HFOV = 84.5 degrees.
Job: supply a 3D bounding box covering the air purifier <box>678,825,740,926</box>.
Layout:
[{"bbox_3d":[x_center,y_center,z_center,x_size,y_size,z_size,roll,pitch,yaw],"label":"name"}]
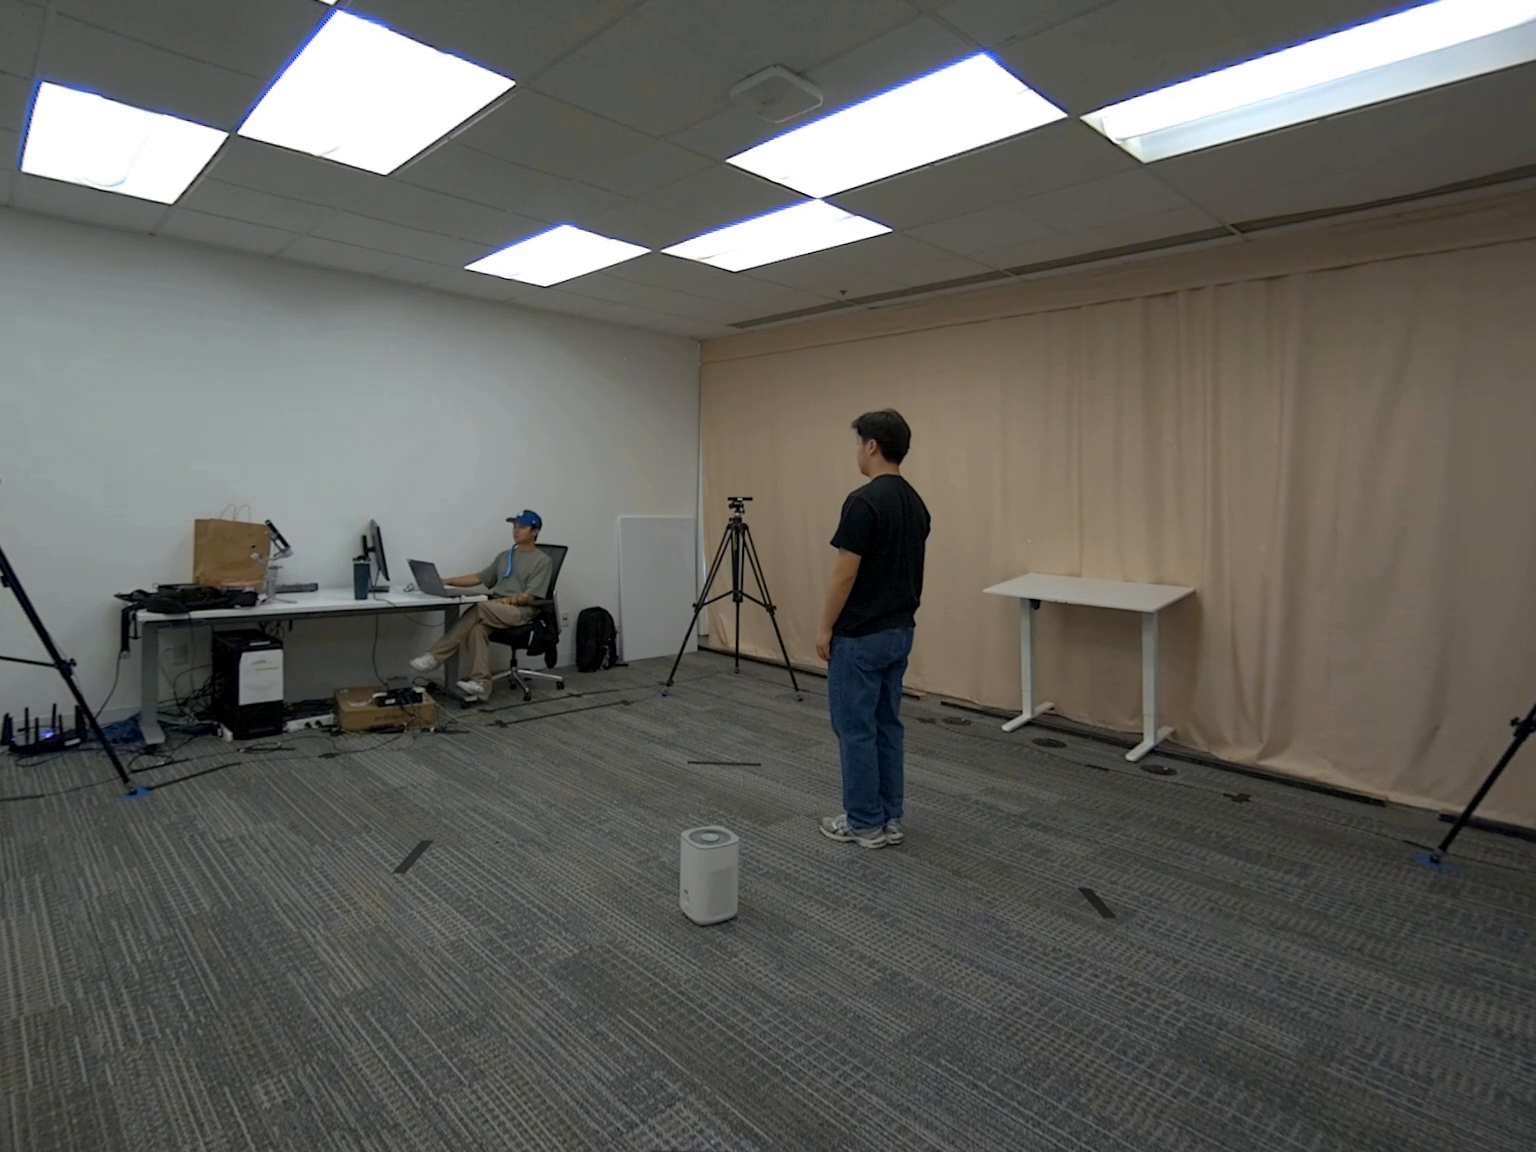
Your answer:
[{"bbox_3d":[-0.199,0.990,2.817,0.168,0.265,0.175,0,4,-35],"label":"air purifier"}]
